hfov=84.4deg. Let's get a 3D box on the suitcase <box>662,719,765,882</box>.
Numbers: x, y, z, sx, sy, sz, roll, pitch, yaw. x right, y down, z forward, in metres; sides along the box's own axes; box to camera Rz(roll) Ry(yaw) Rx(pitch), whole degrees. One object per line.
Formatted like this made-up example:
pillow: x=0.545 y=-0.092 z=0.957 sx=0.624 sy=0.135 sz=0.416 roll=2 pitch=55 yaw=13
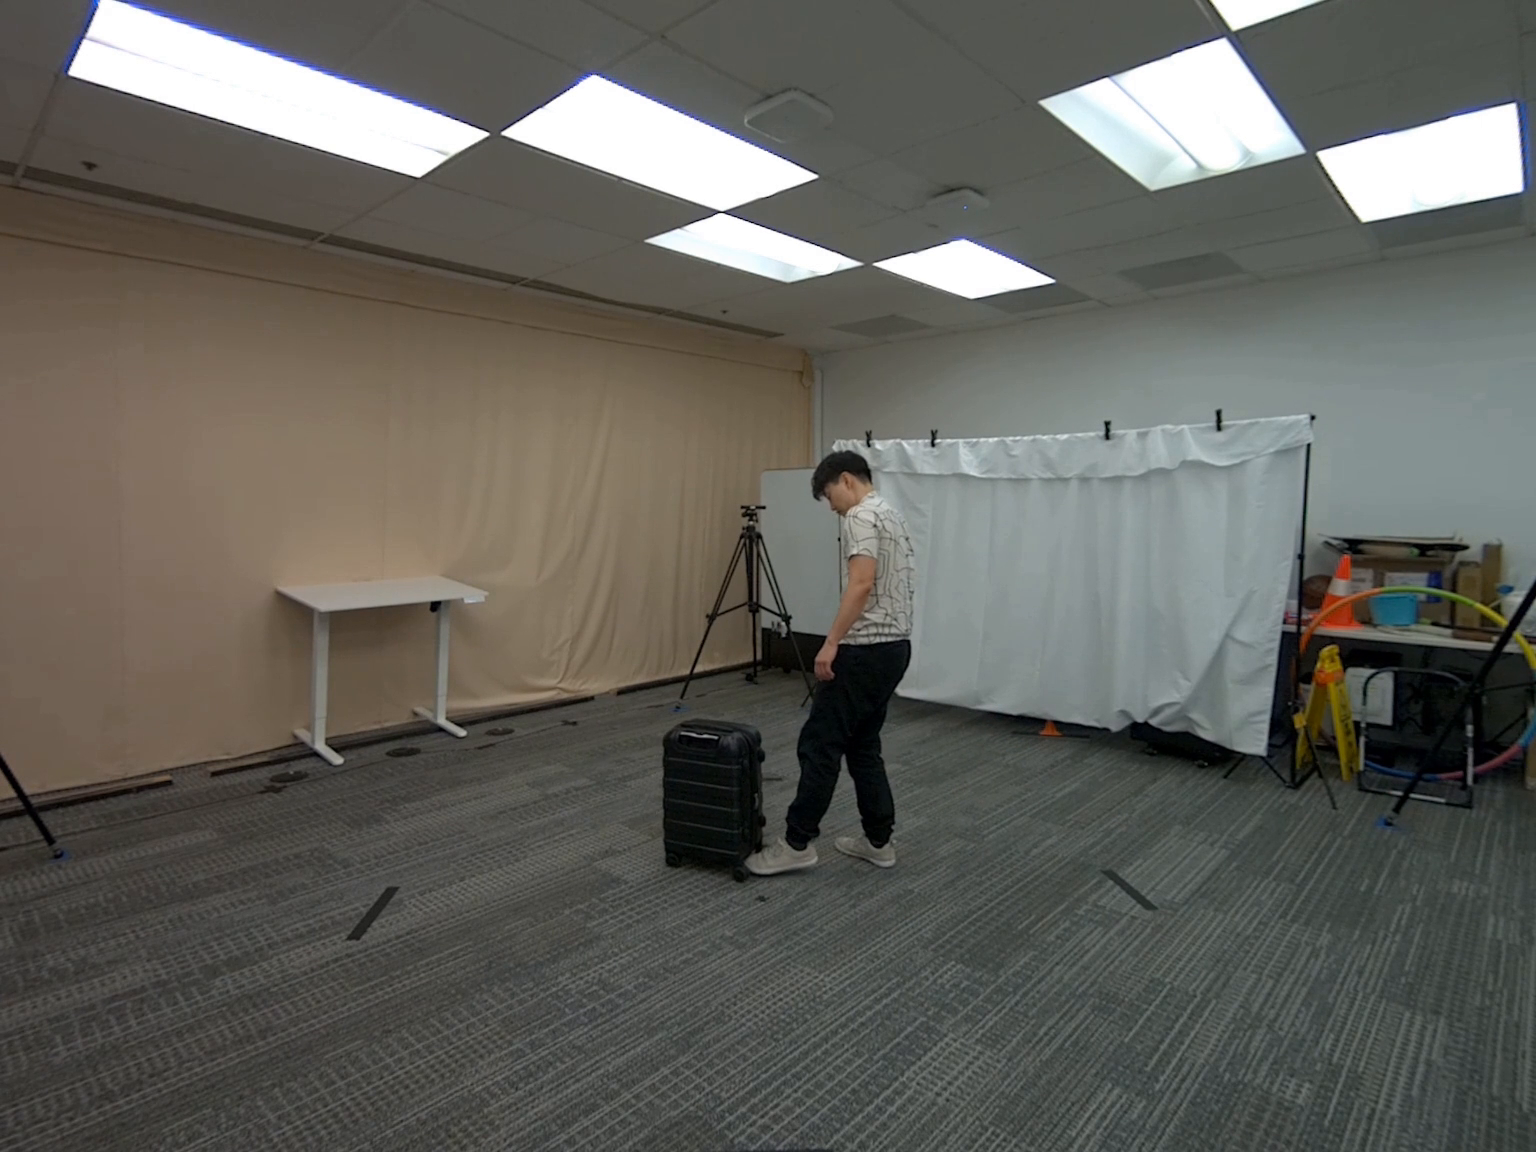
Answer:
suitcase: x=-0.214 y=0.847 z=3.286 sx=0.385 sy=0.548 sz=0.242 roll=0 pitch=3 yaw=25
